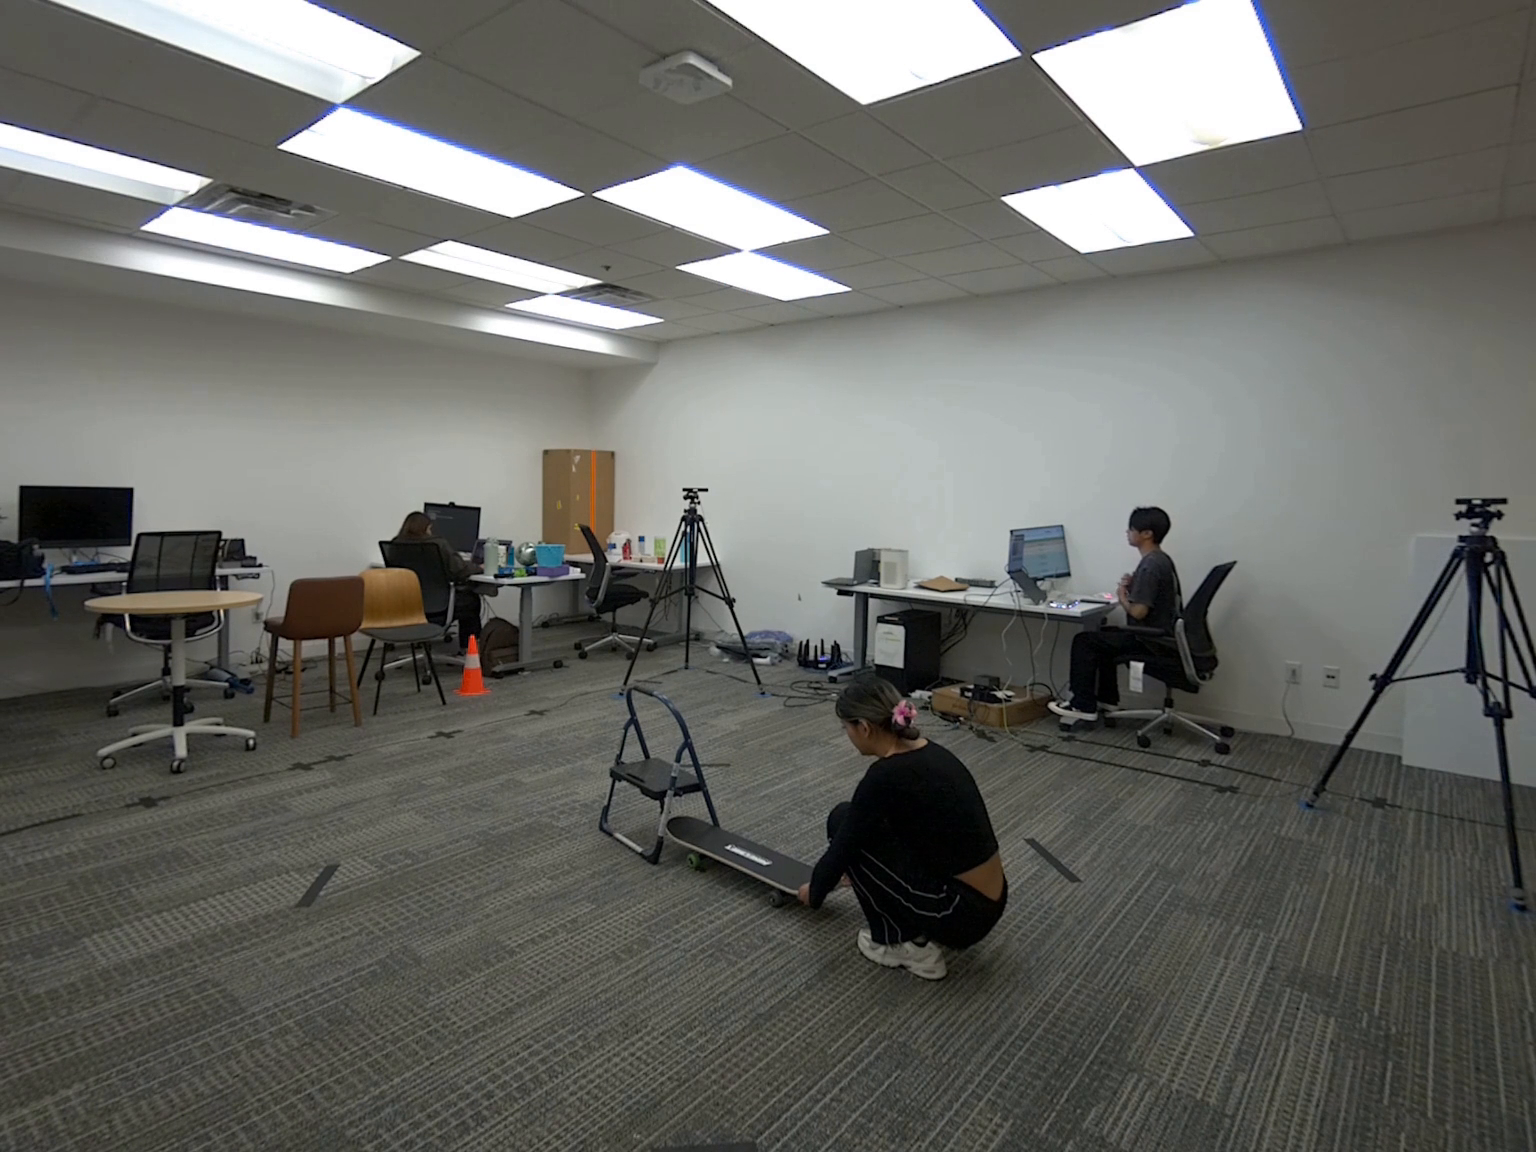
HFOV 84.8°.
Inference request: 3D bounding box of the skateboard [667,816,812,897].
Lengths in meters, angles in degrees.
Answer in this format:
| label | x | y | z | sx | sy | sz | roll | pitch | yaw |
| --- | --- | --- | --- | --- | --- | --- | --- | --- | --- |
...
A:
| label | x | y | z | sx | sy | sz | roll | pitch | yaw |
| --- | --- | --- | --- | --- | --- | --- | --- | --- | --- |
| skateboard | -0.088 | 1.015 | 3.033 | 0.813 | 0.110 | 0.188 | 7 | 8 | 42 |
